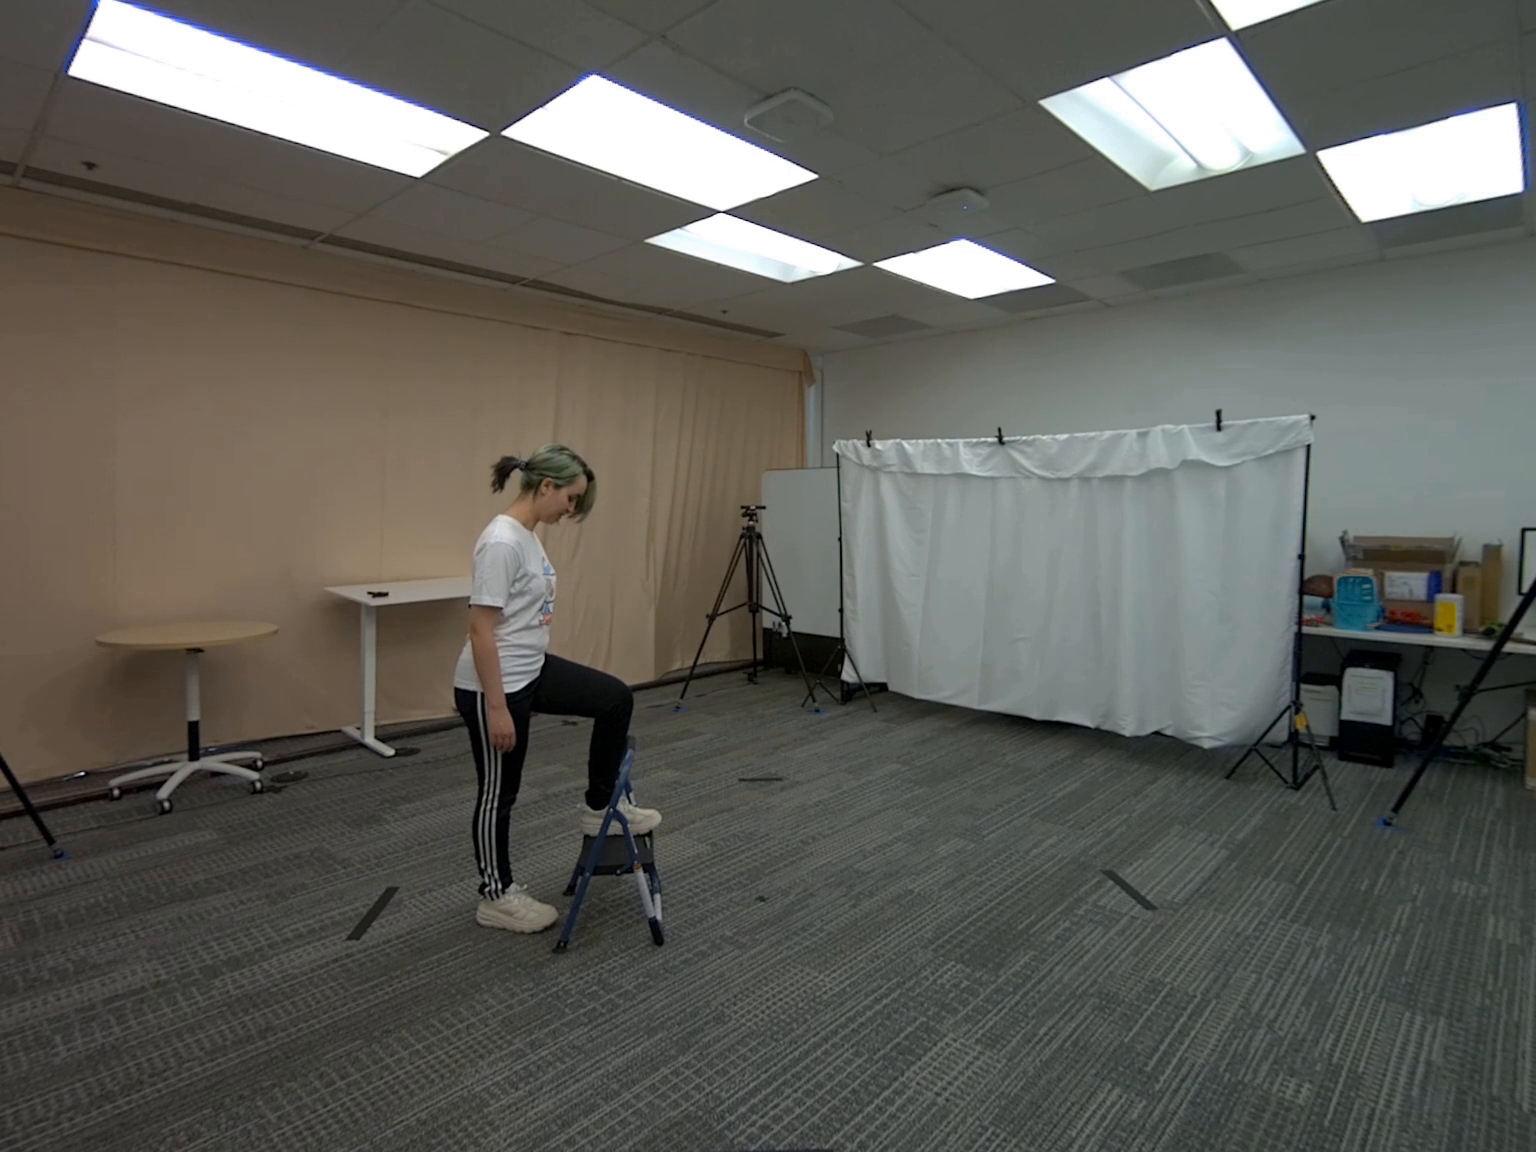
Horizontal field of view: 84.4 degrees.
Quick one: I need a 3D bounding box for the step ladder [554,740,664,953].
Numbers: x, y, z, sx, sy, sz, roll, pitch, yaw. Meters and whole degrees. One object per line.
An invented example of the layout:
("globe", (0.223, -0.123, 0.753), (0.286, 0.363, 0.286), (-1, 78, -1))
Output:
("step ladder", (-0.534, 0.864, 2.833), (0.347, 0.605, 0.435), (-1, 4, -8))
